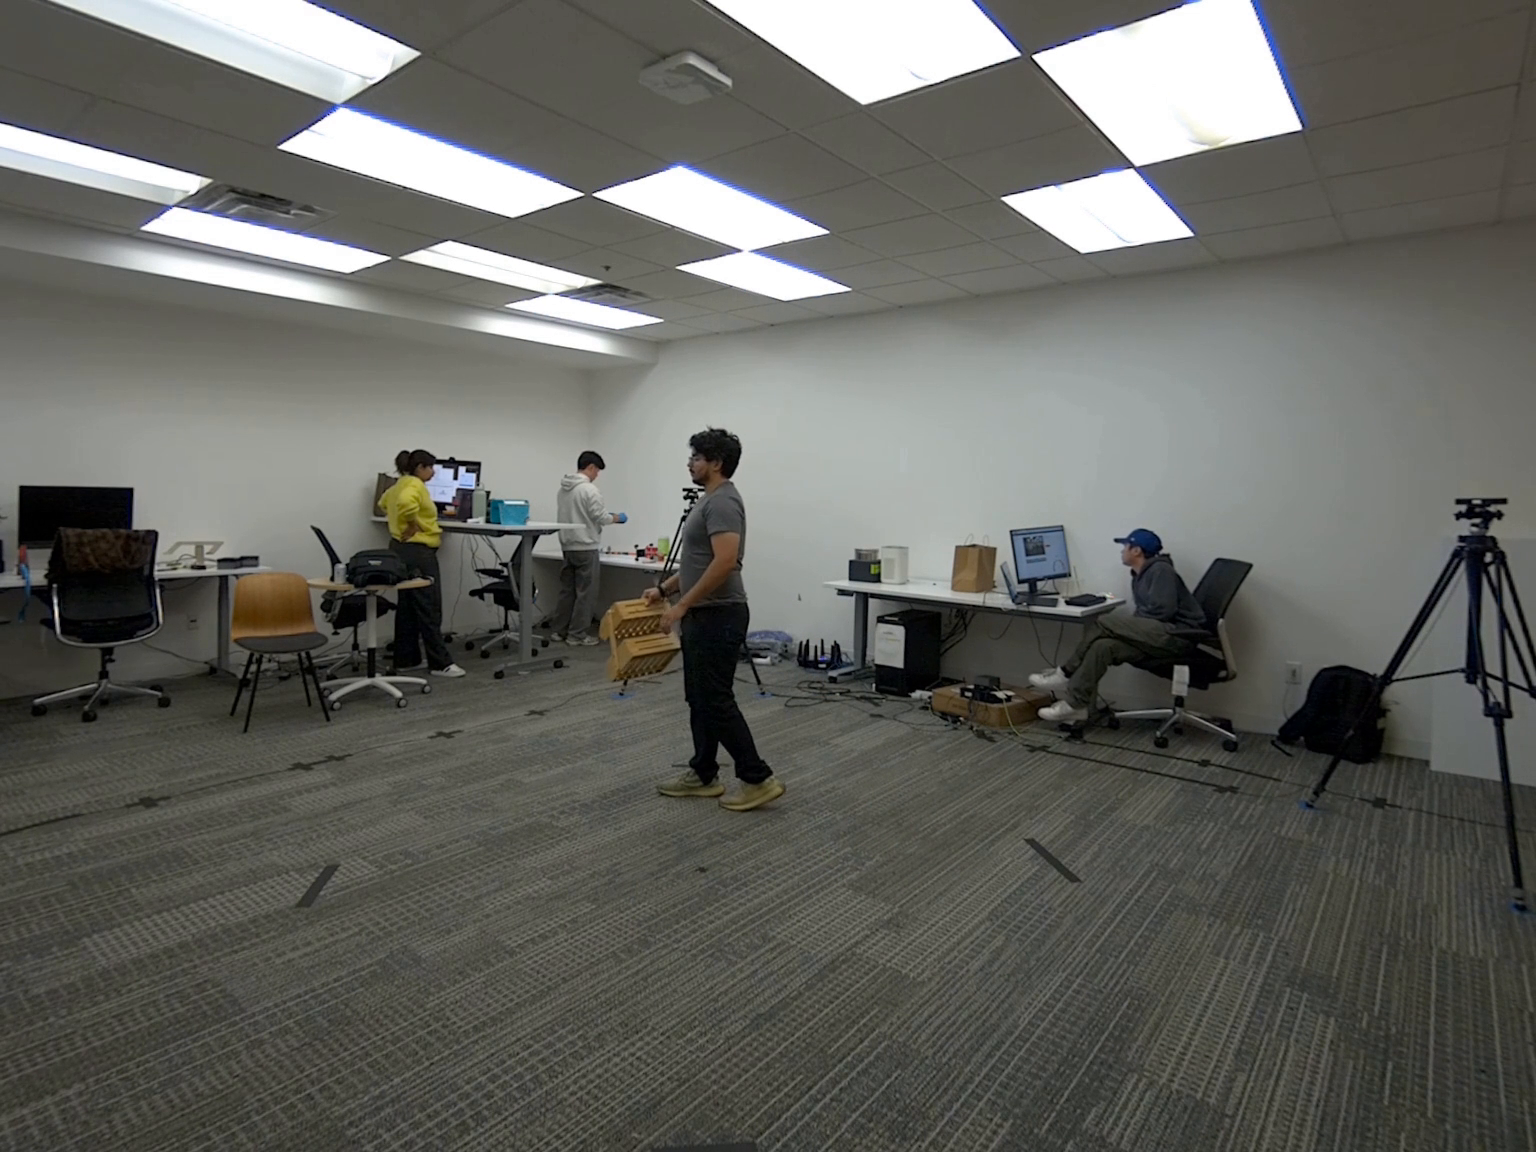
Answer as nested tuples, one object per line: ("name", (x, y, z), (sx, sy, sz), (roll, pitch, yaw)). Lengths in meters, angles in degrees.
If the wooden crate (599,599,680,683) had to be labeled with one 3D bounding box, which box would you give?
("wooden crate", (-0.635, 0.293, 4.016), (0.315, 0.282, 0.302), (-6, -33, -45))
